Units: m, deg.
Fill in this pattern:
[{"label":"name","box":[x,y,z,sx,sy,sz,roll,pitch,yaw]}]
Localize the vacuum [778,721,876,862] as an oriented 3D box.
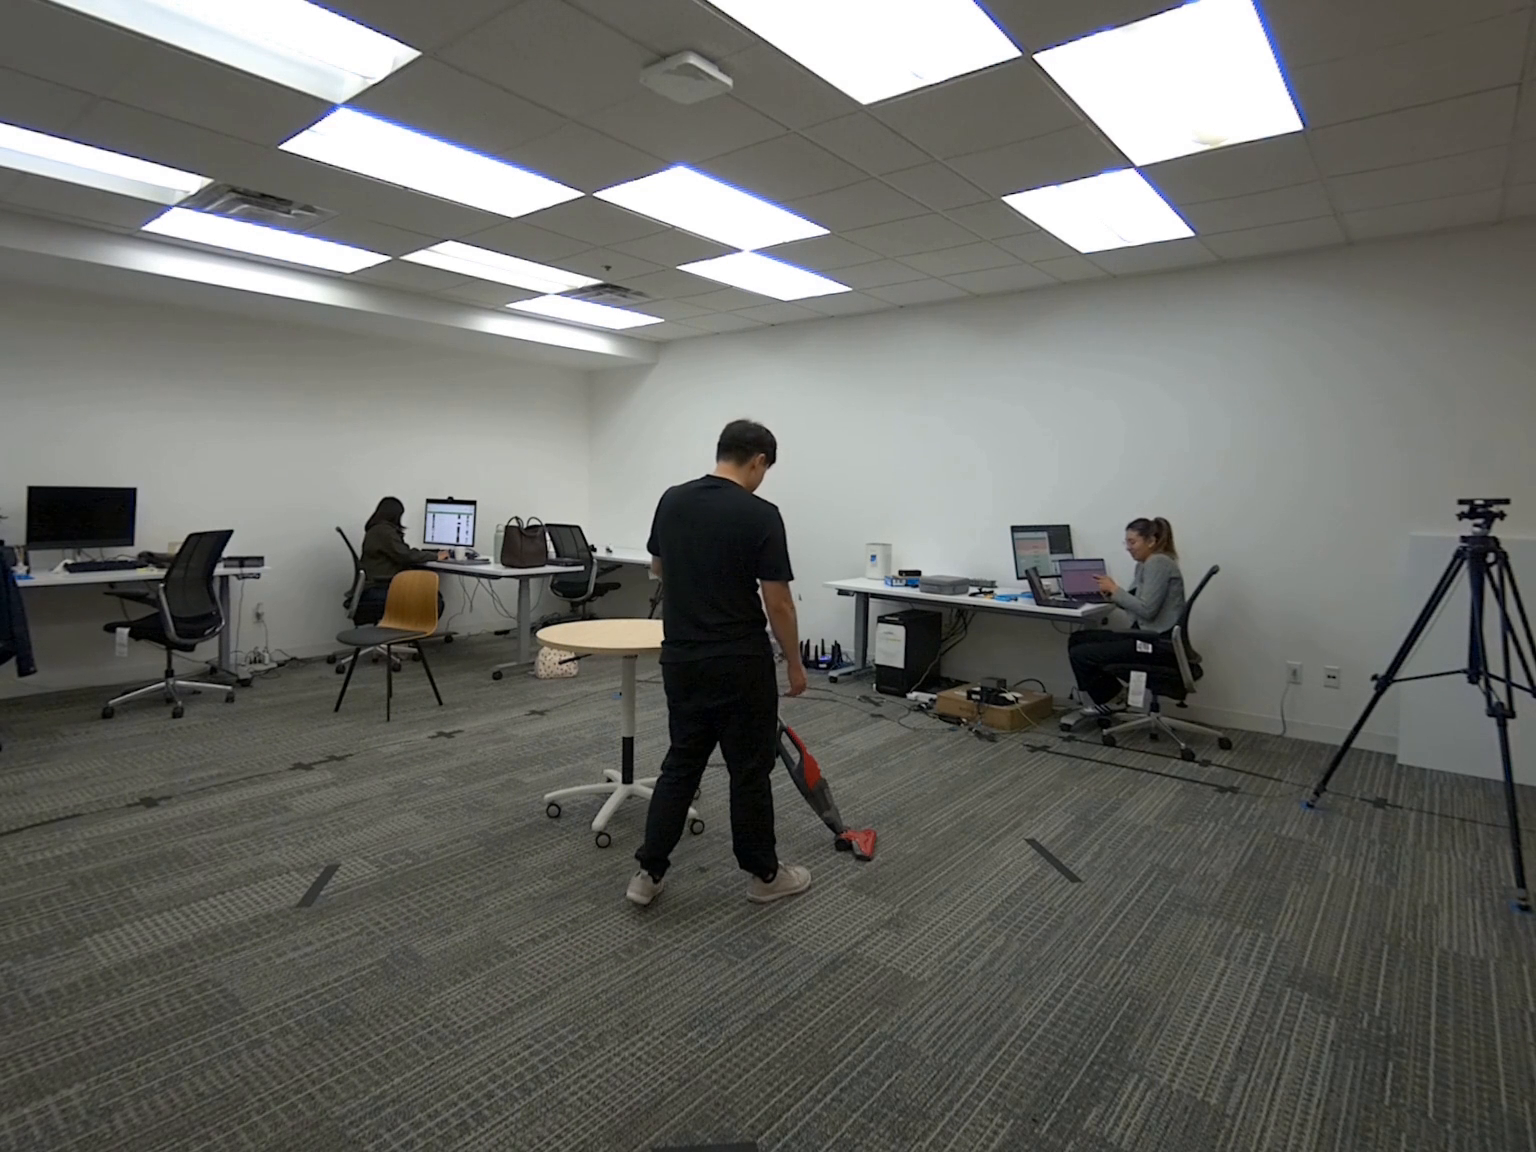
[{"label":"vacuum","box":[0.045,0.627,3.409,0.144,1.062,0.248,-37,-8,15]}]
